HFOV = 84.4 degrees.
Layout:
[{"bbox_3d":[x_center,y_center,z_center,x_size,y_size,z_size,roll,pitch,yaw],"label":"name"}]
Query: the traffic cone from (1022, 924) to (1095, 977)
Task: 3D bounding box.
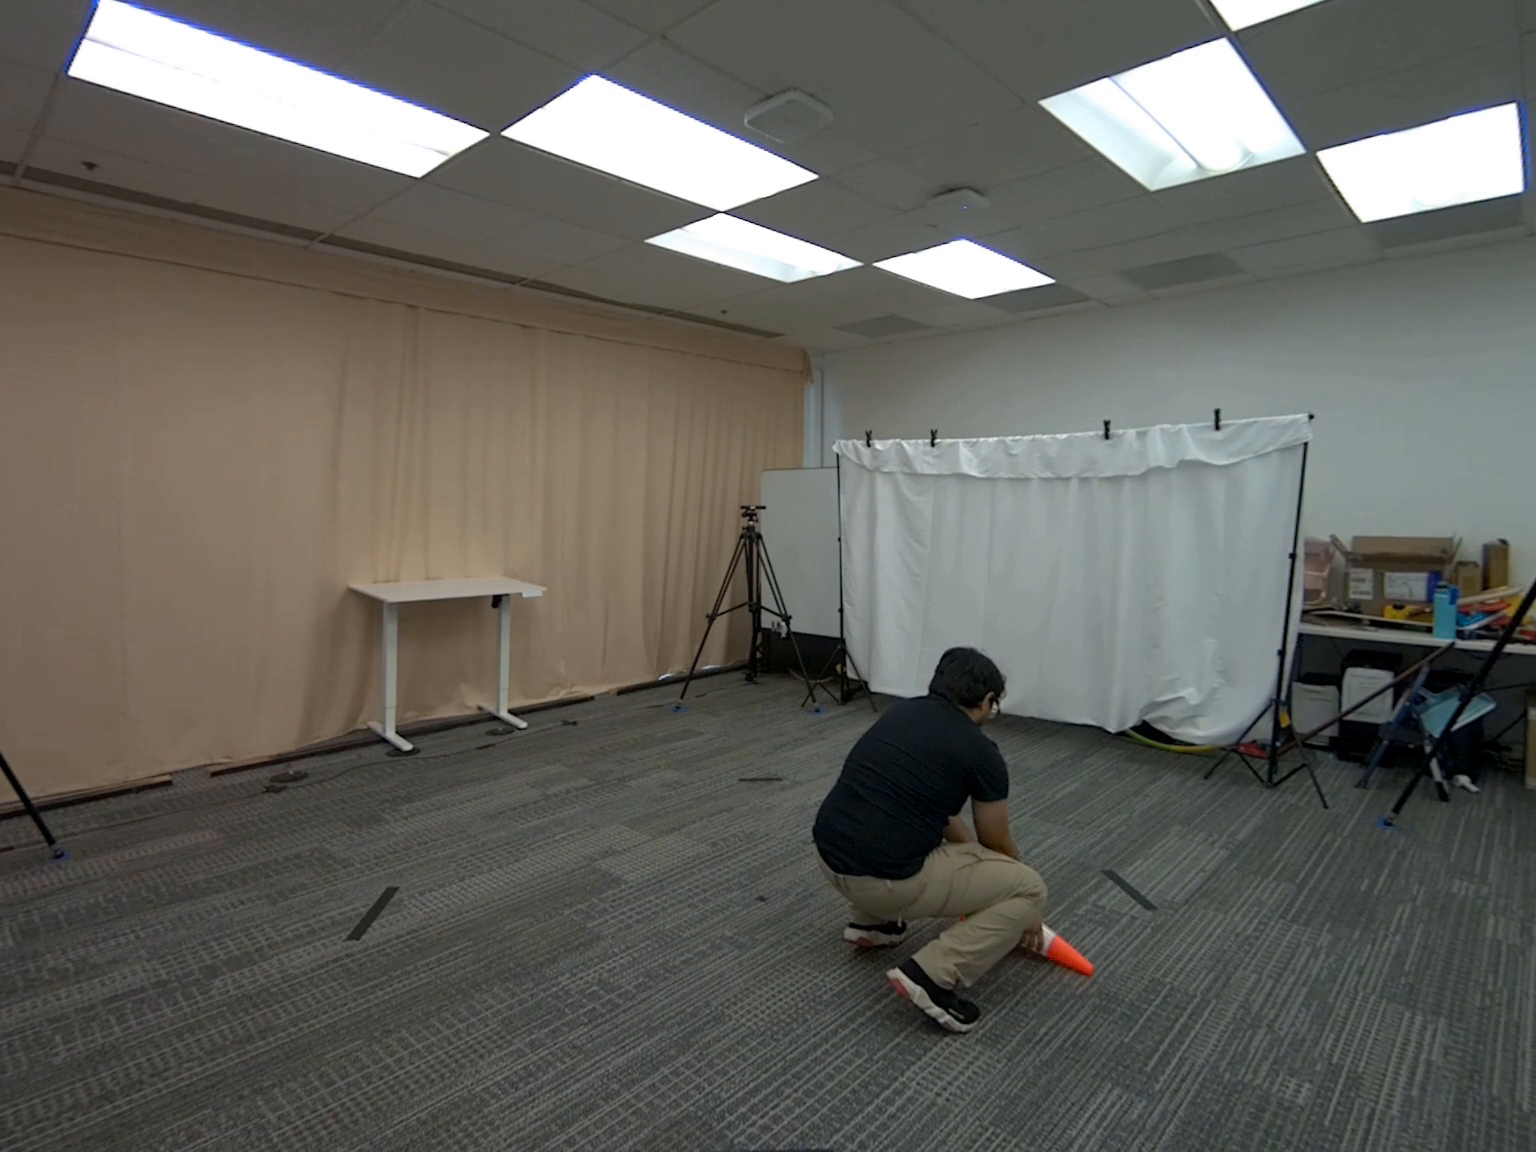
[{"bbox_3d":[0.834,1.119,2.605,0.398,0.199,0.201,20,39,41],"label":"traffic cone"}]
